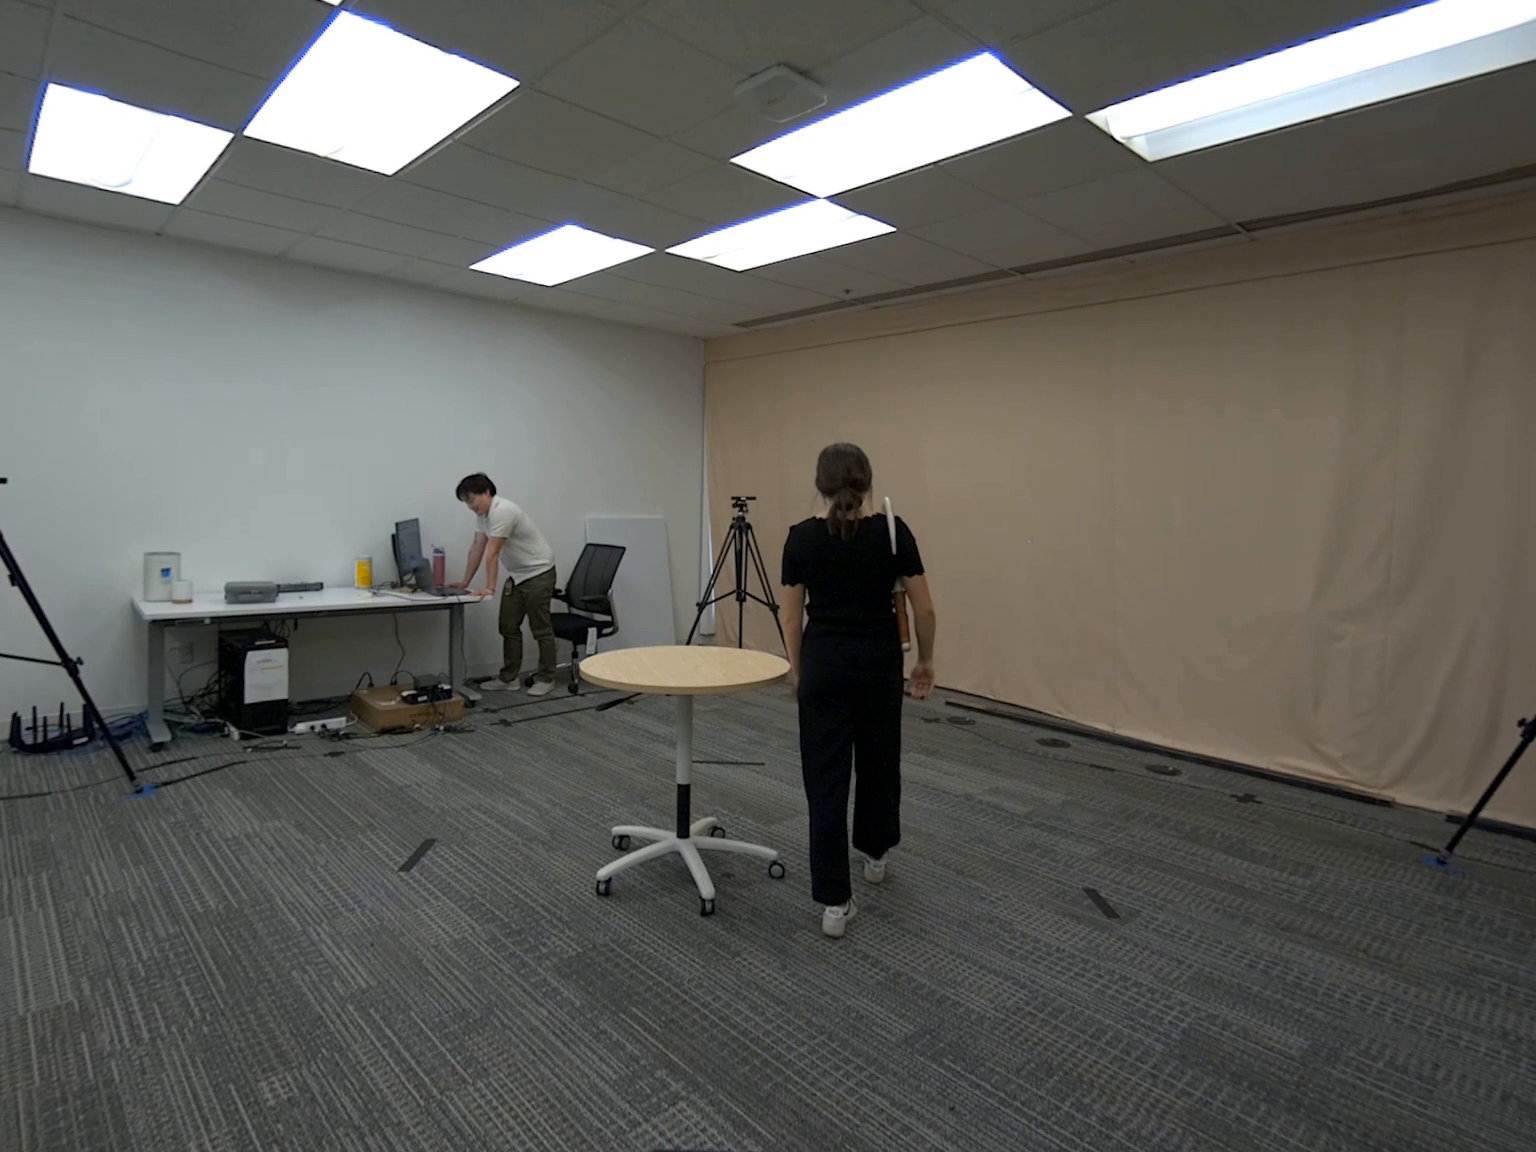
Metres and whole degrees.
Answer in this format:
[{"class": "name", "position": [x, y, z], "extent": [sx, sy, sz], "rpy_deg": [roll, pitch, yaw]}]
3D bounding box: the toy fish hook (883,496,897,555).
[{"class": "toy fish hook", "position": [0.414, -0.006, 2.783], "extent": [0.049, 0.509, 0.221], "rpy_deg": [-8, -6, 11]}]
